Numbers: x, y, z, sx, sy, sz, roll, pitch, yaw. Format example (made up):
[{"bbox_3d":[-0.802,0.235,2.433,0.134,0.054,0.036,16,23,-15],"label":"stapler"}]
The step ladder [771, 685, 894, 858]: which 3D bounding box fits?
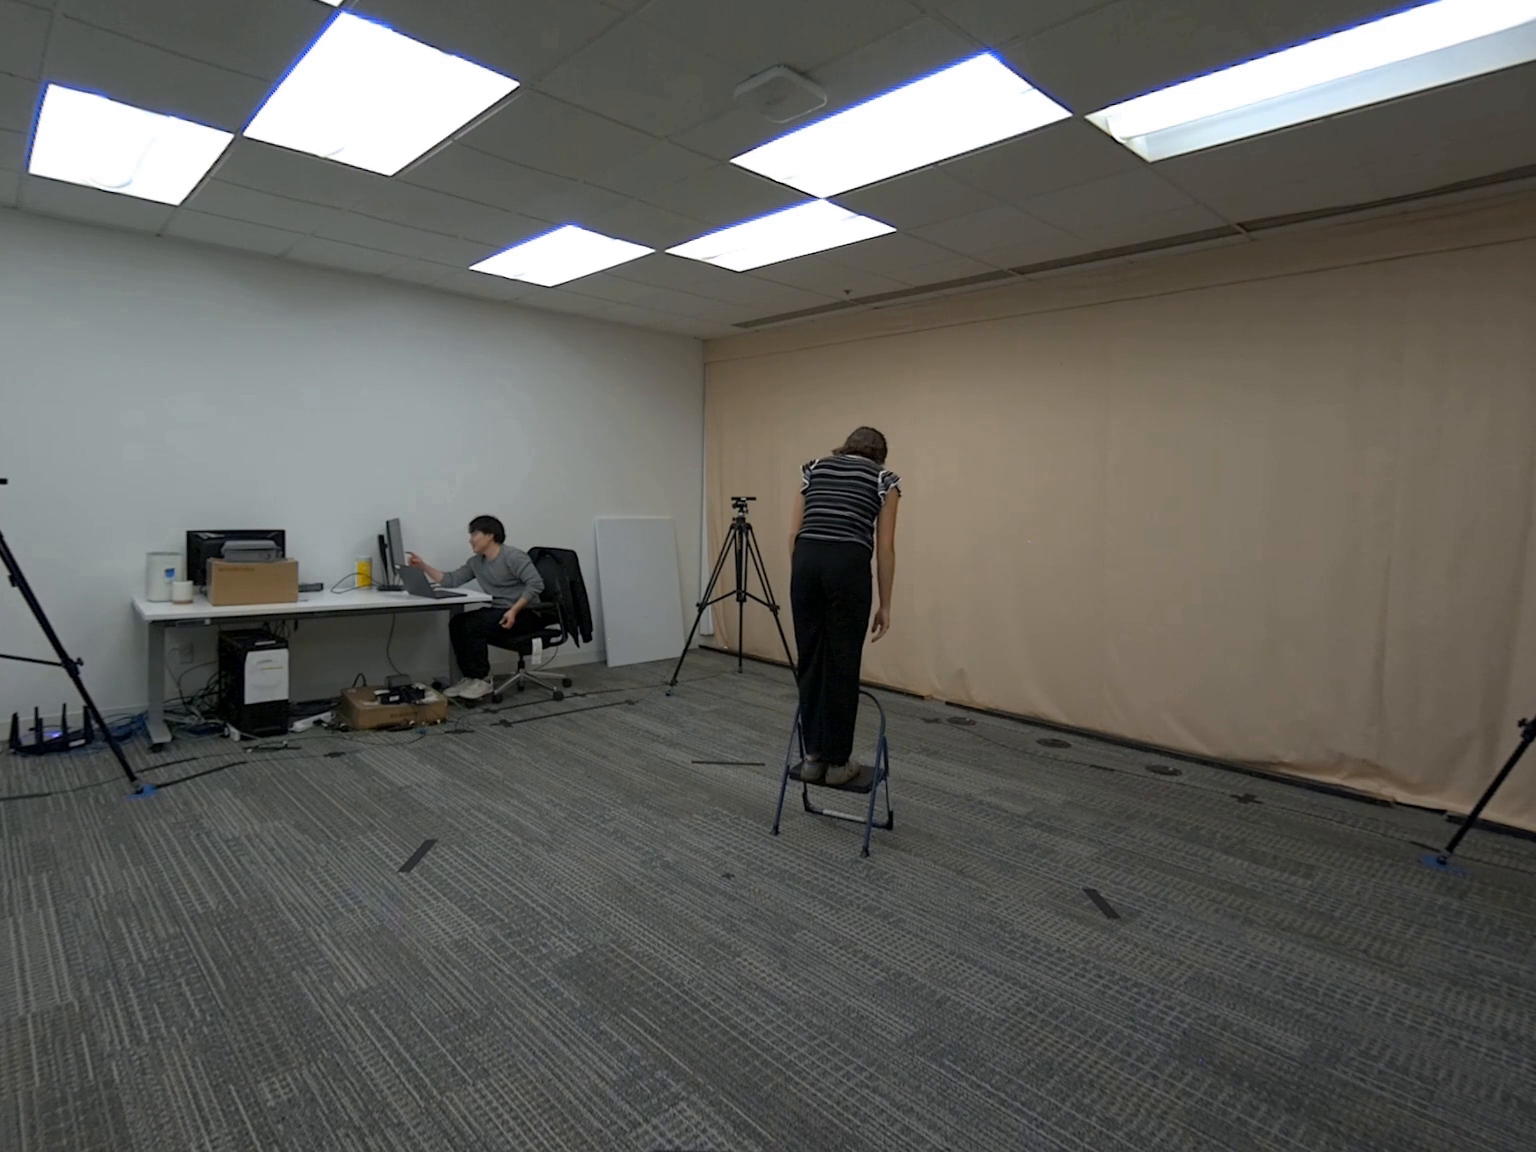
[{"bbox_3d":[0.279,0.778,3.540,0.440,0.605,0.343,3,3,28],"label":"step ladder"}]
